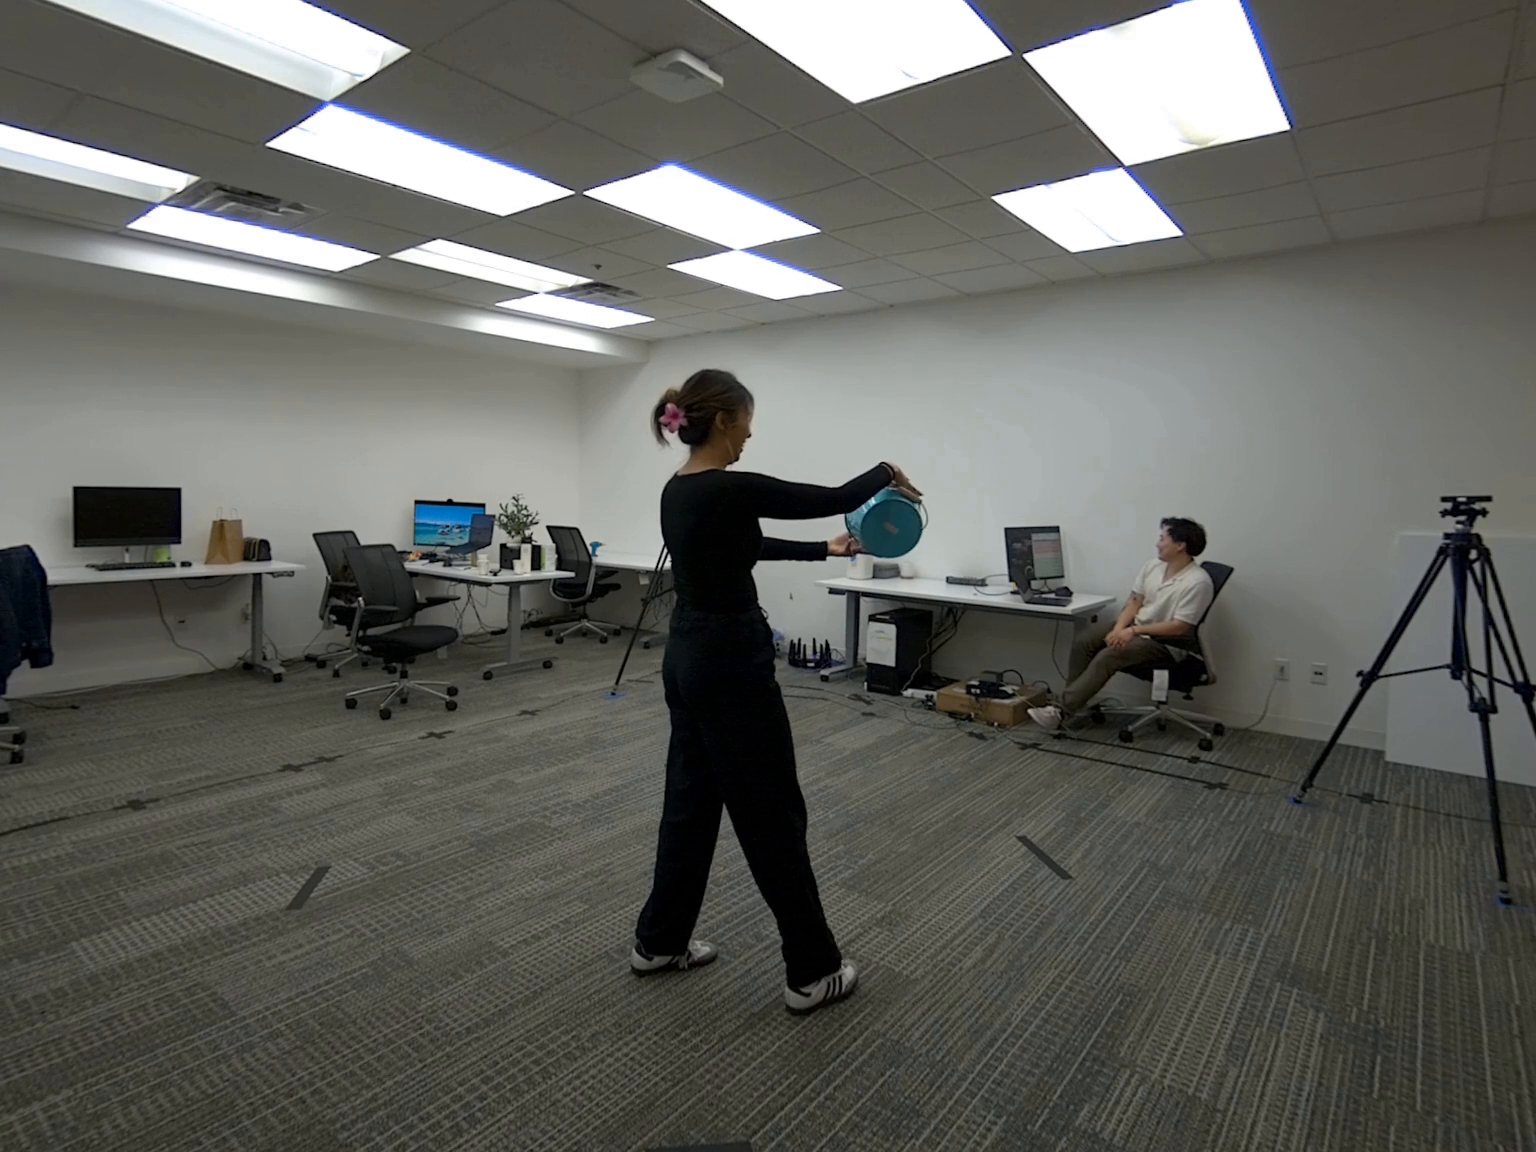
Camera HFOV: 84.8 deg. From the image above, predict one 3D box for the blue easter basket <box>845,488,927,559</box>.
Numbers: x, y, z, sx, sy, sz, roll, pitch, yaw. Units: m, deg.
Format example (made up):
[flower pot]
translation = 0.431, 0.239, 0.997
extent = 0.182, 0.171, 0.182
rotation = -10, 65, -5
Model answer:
[blue easter basket]
translation = 0.337, -0.174, 2.534
extent = 0.244, 0.240, 0.158
rotation = 1, 17, 1
